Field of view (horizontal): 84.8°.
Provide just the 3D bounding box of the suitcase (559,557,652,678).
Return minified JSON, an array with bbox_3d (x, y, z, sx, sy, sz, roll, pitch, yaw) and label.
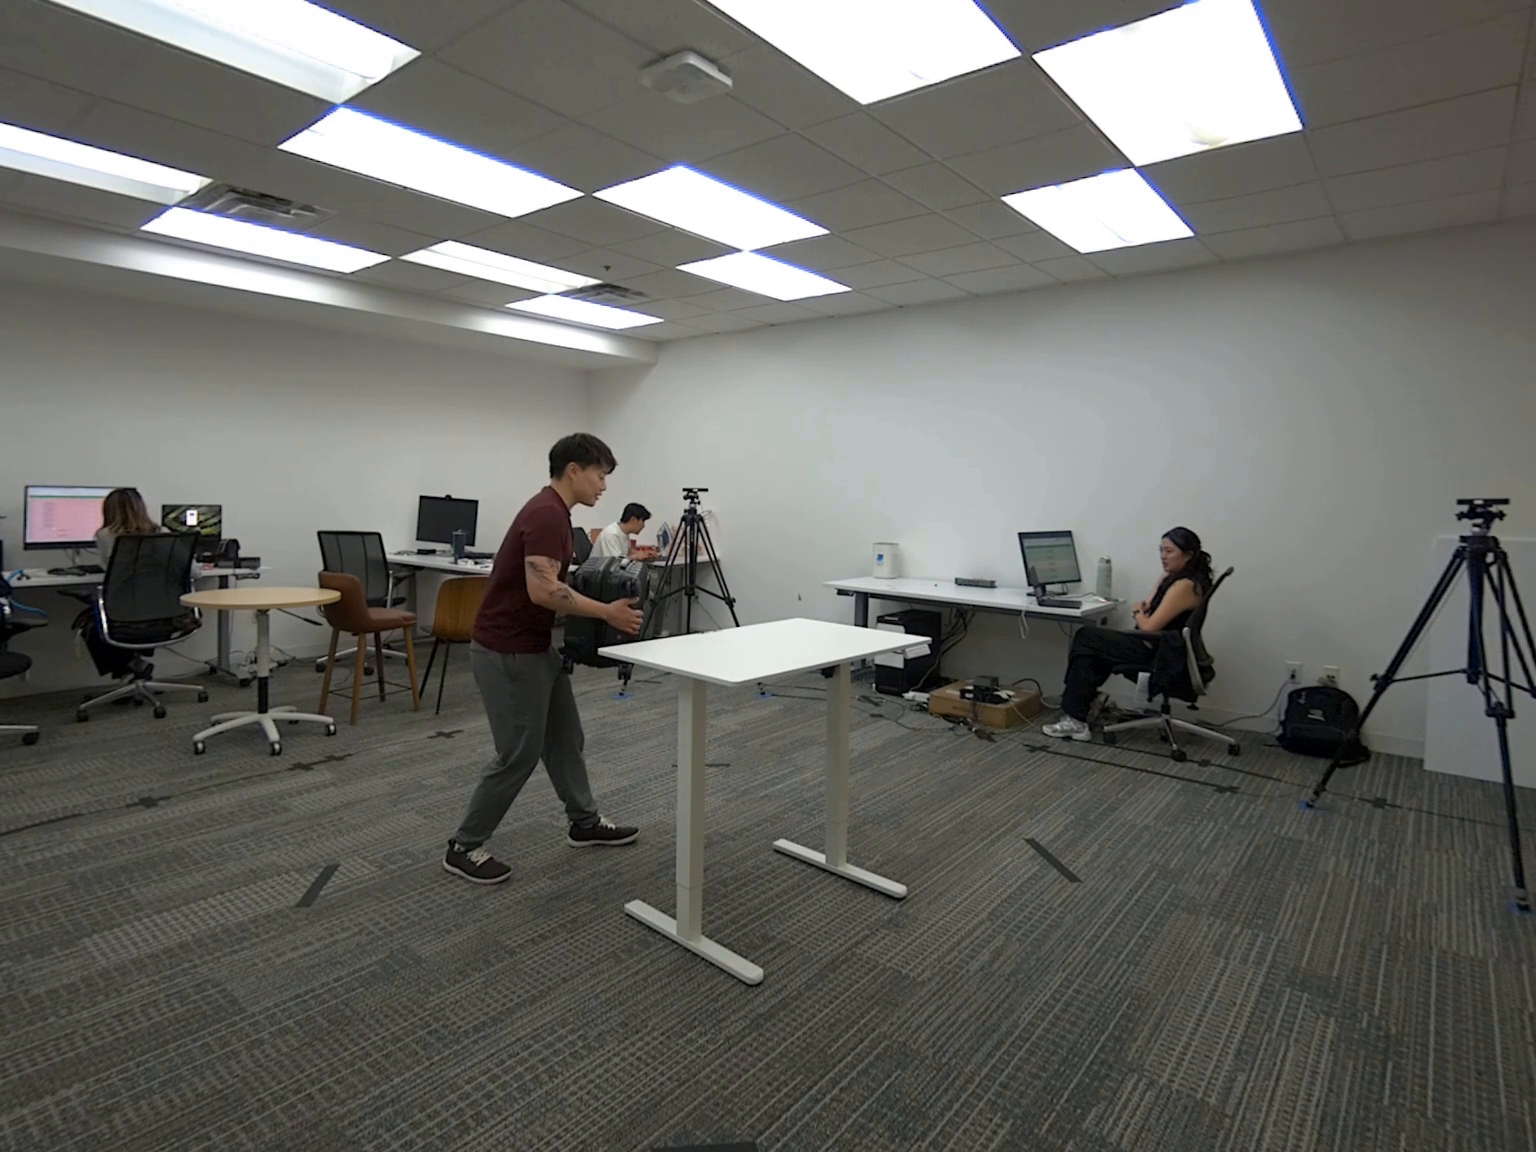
[{"bbox_3d":[-0.624,0.103,3.391,0.256,0.382,0.987,6,6,-5],"label":"suitcase"}]
